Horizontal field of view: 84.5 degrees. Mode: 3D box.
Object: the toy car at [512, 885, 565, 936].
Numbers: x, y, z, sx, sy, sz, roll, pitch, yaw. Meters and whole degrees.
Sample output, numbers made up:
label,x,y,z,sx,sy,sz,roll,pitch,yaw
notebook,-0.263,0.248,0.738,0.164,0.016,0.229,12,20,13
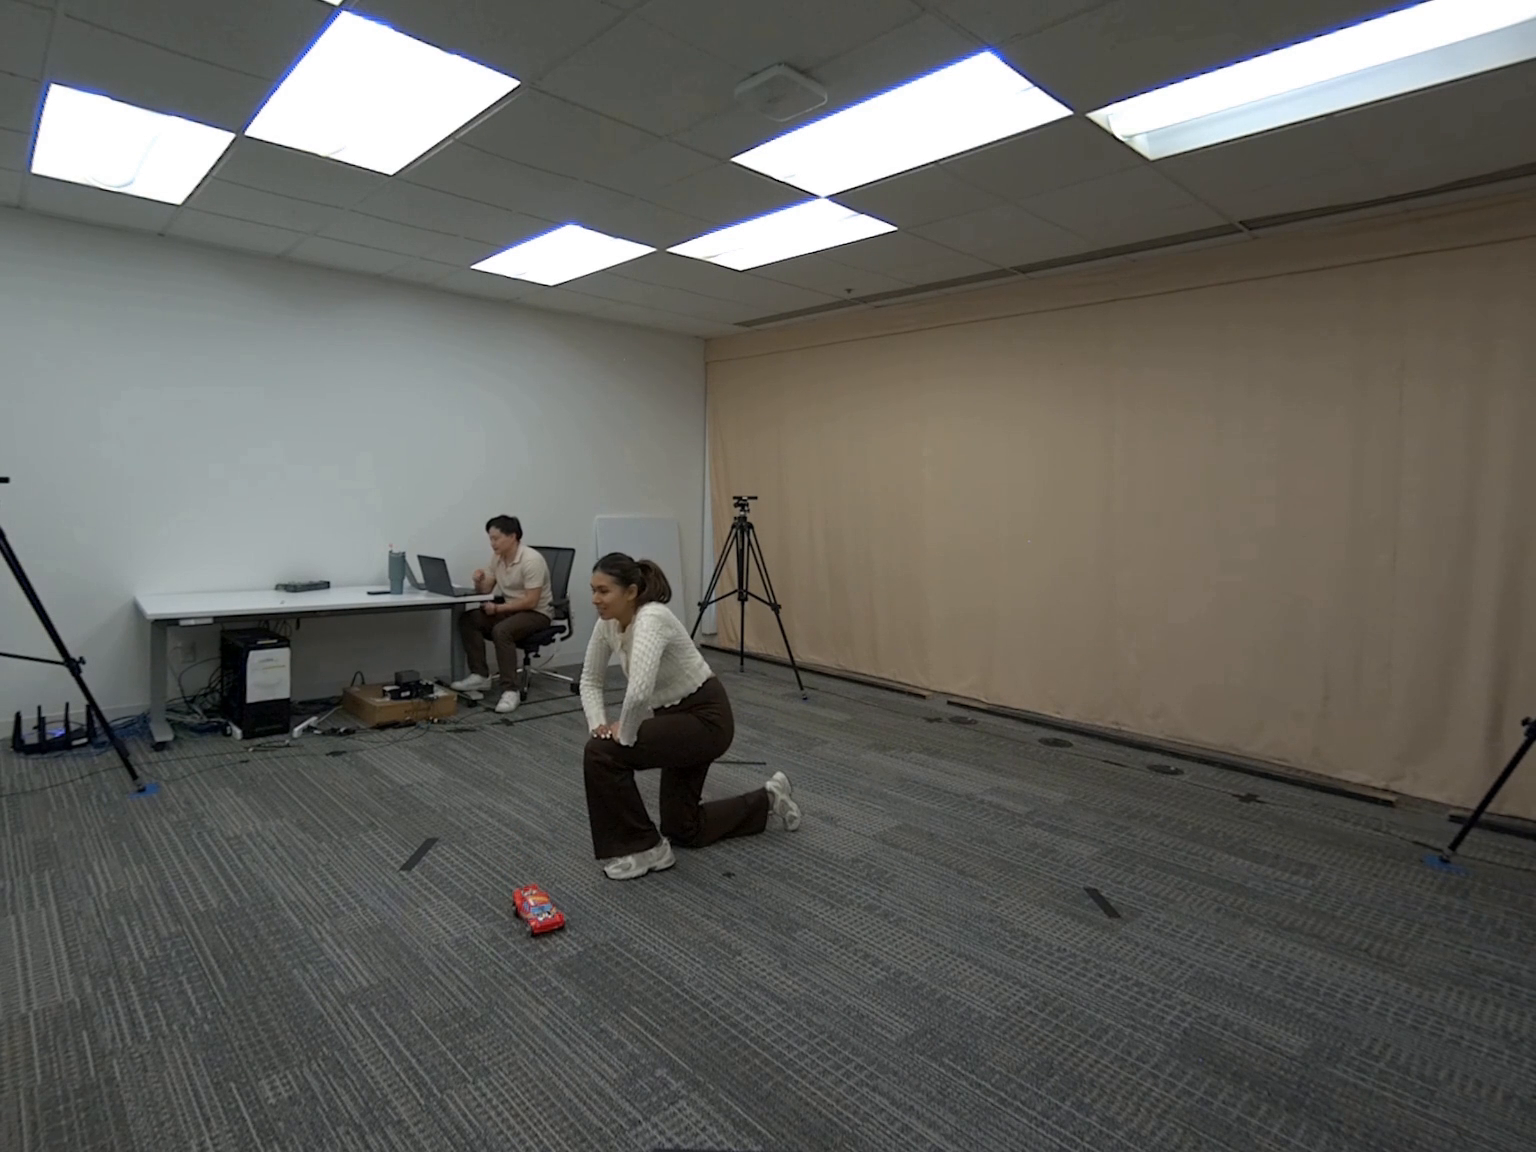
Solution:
label,x,y,z,sx,sy,sz,roll,pitch,yaw
toy car,-0.765,1.091,2.744,0.128,0.082,0.262,-3,18,-31
